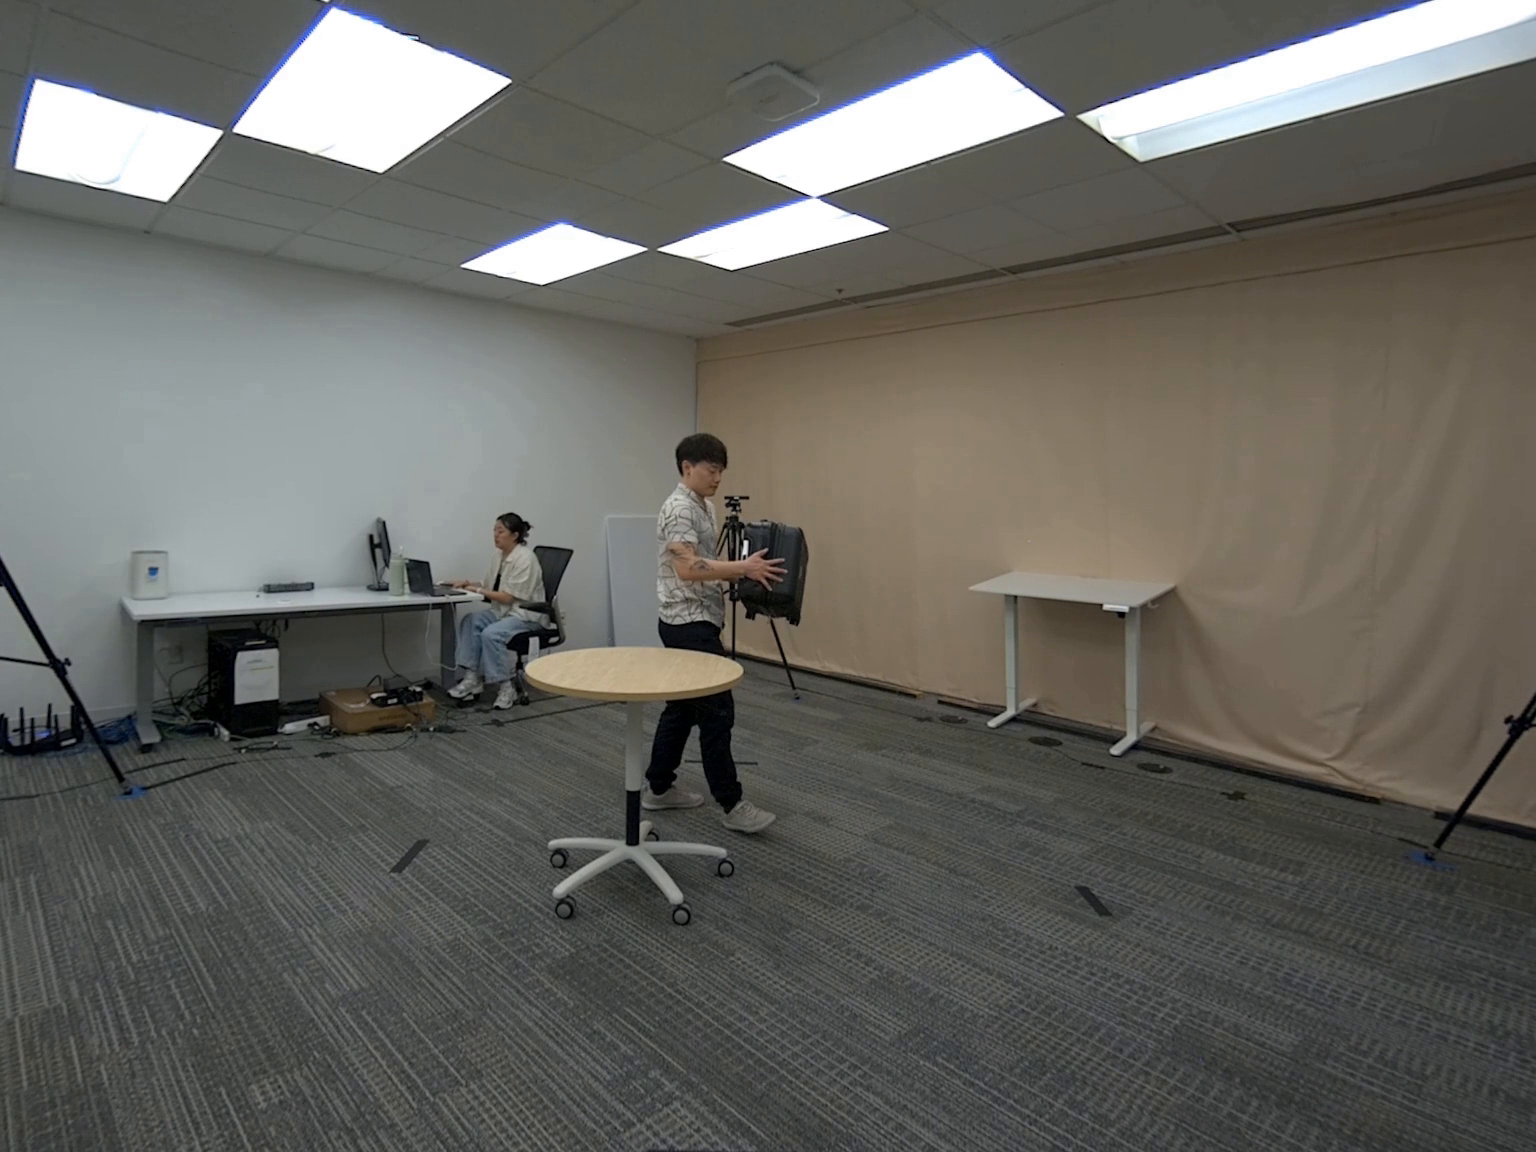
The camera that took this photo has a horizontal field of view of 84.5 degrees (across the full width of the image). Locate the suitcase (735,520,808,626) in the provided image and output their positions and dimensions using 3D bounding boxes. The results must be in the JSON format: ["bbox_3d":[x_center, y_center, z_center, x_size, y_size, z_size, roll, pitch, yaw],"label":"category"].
[{"bbox_3d":[0.017,-0.030,3.677,0.250,0.378,0.542,7,-10,6],"label":"suitcase"}]
